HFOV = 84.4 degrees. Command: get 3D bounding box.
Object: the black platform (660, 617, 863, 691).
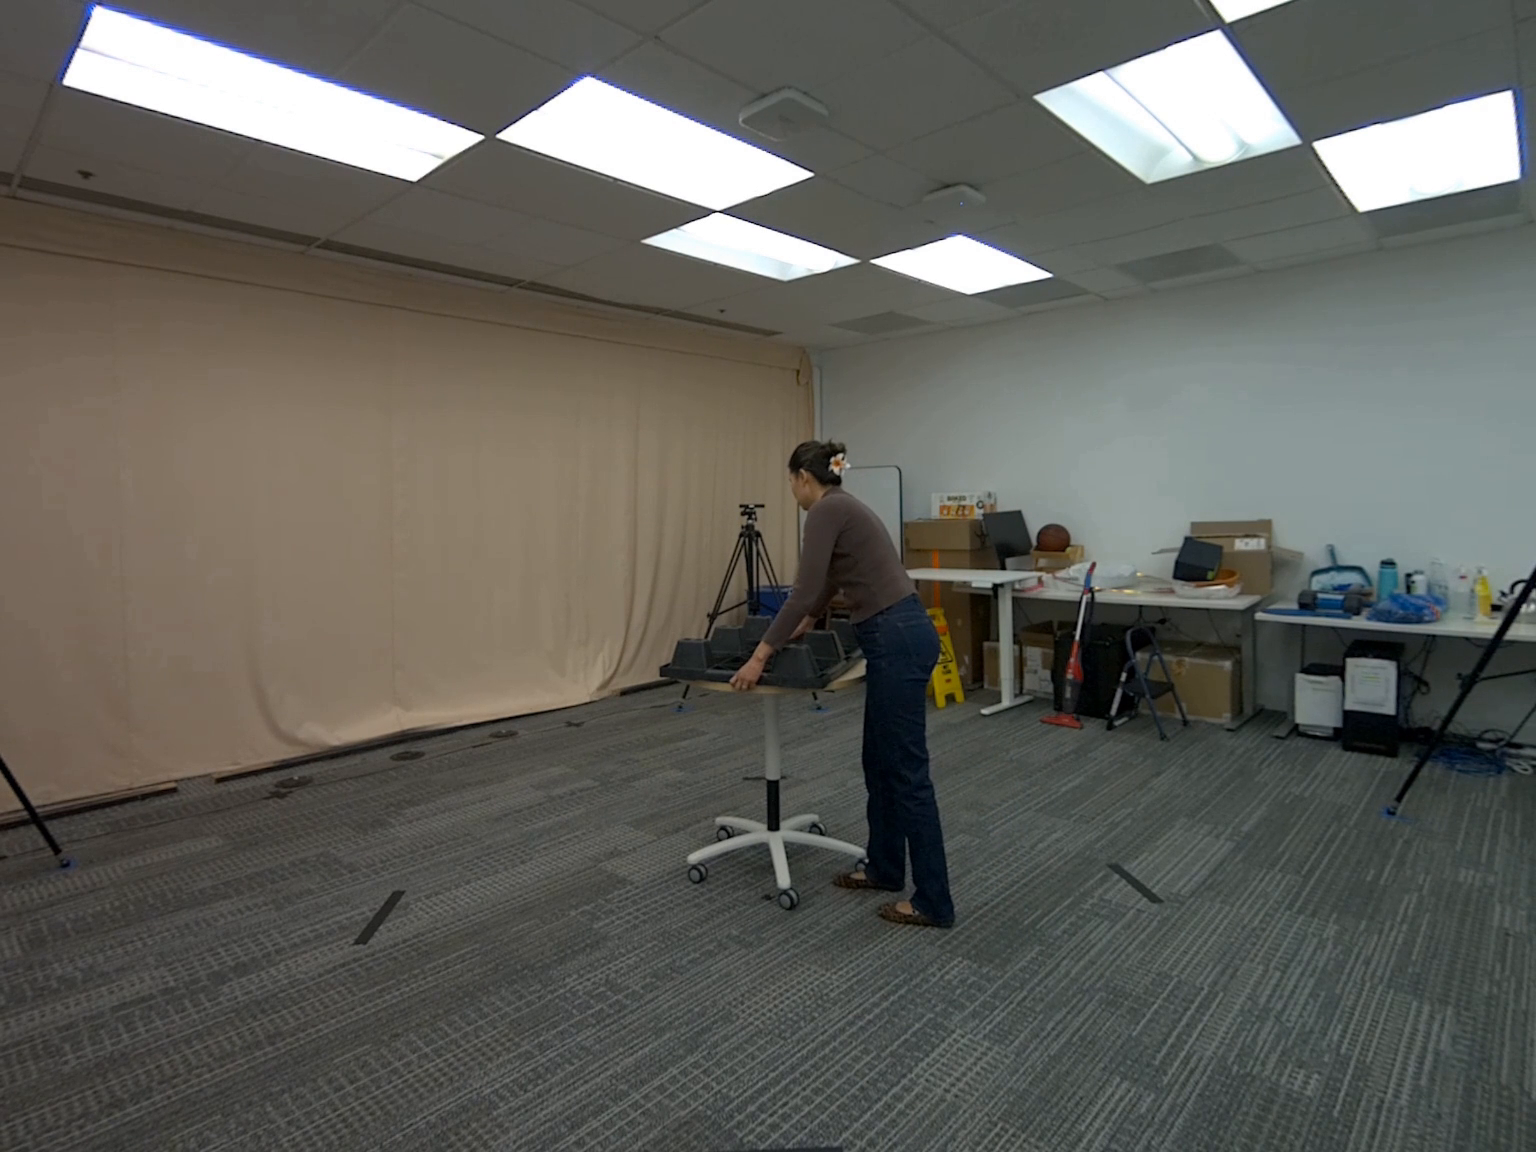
[{"bbox_3d":[0.029,0.275,3.211,0.619,0.143,0.790,1,5,21],"label":"black platform"}]
